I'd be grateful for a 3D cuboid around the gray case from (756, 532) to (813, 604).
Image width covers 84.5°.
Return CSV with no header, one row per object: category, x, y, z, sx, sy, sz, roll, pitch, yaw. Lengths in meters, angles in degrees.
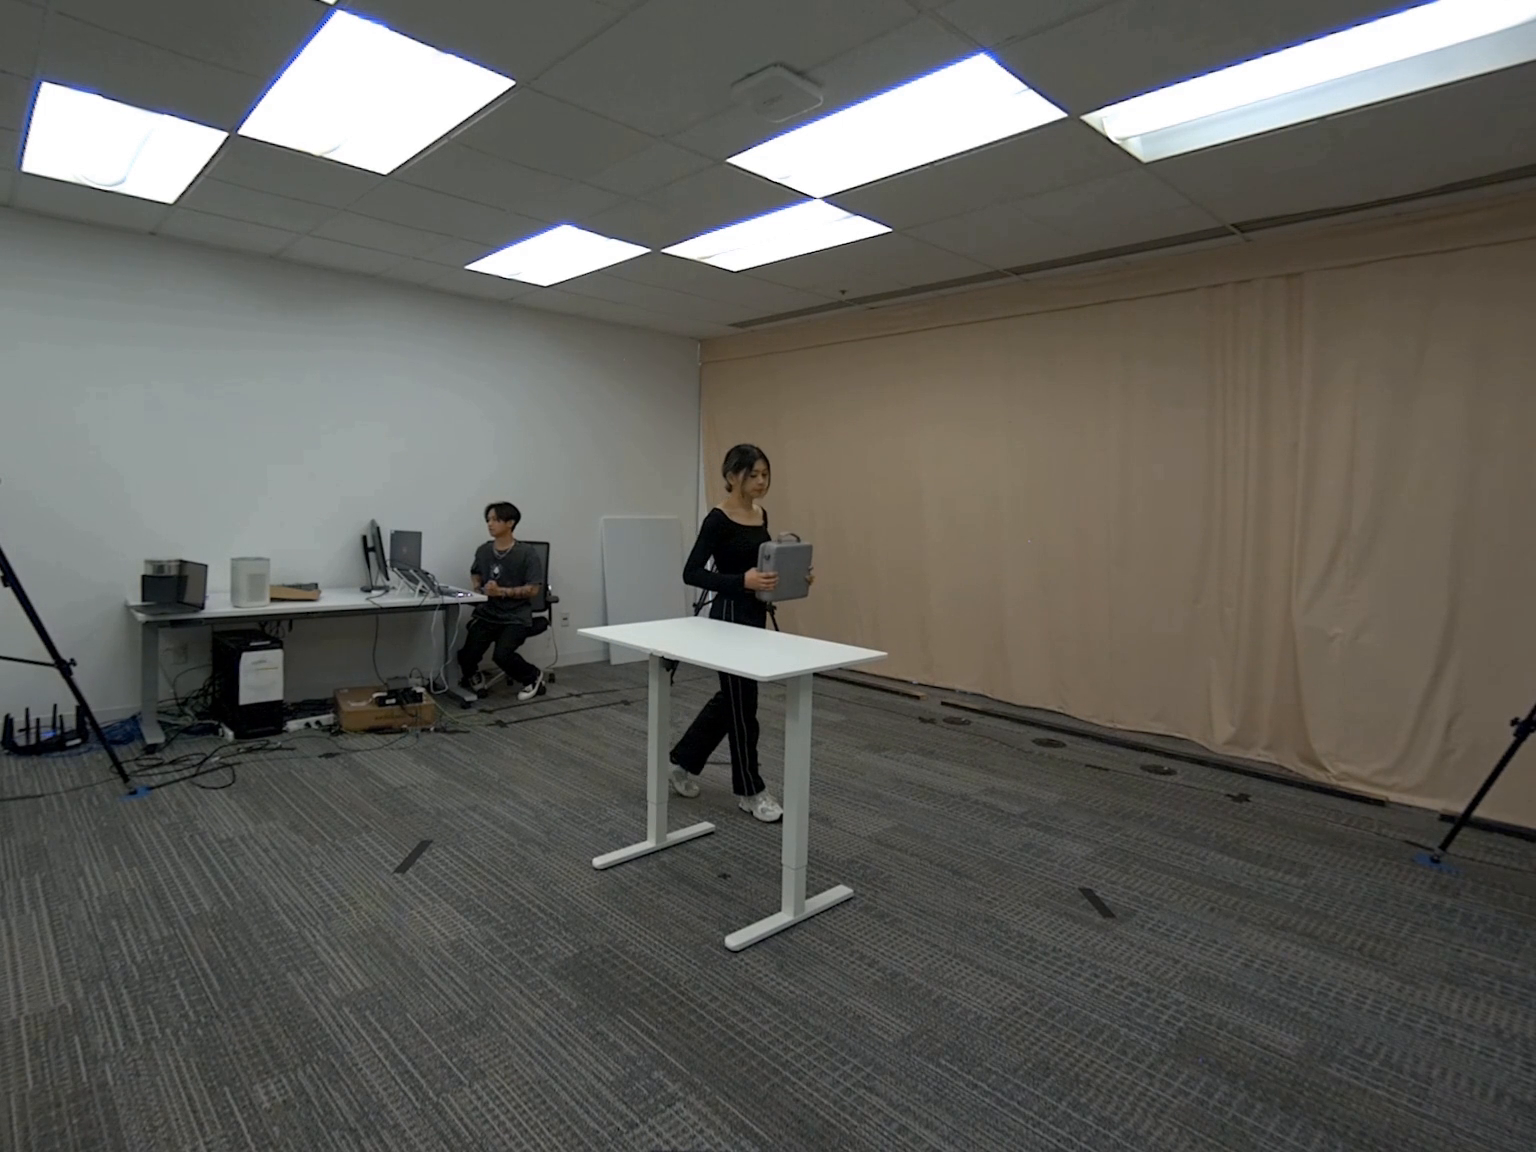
gray case,0.049,-0.030,3.615,0.251,0.259,0.107,-5,14,-44
